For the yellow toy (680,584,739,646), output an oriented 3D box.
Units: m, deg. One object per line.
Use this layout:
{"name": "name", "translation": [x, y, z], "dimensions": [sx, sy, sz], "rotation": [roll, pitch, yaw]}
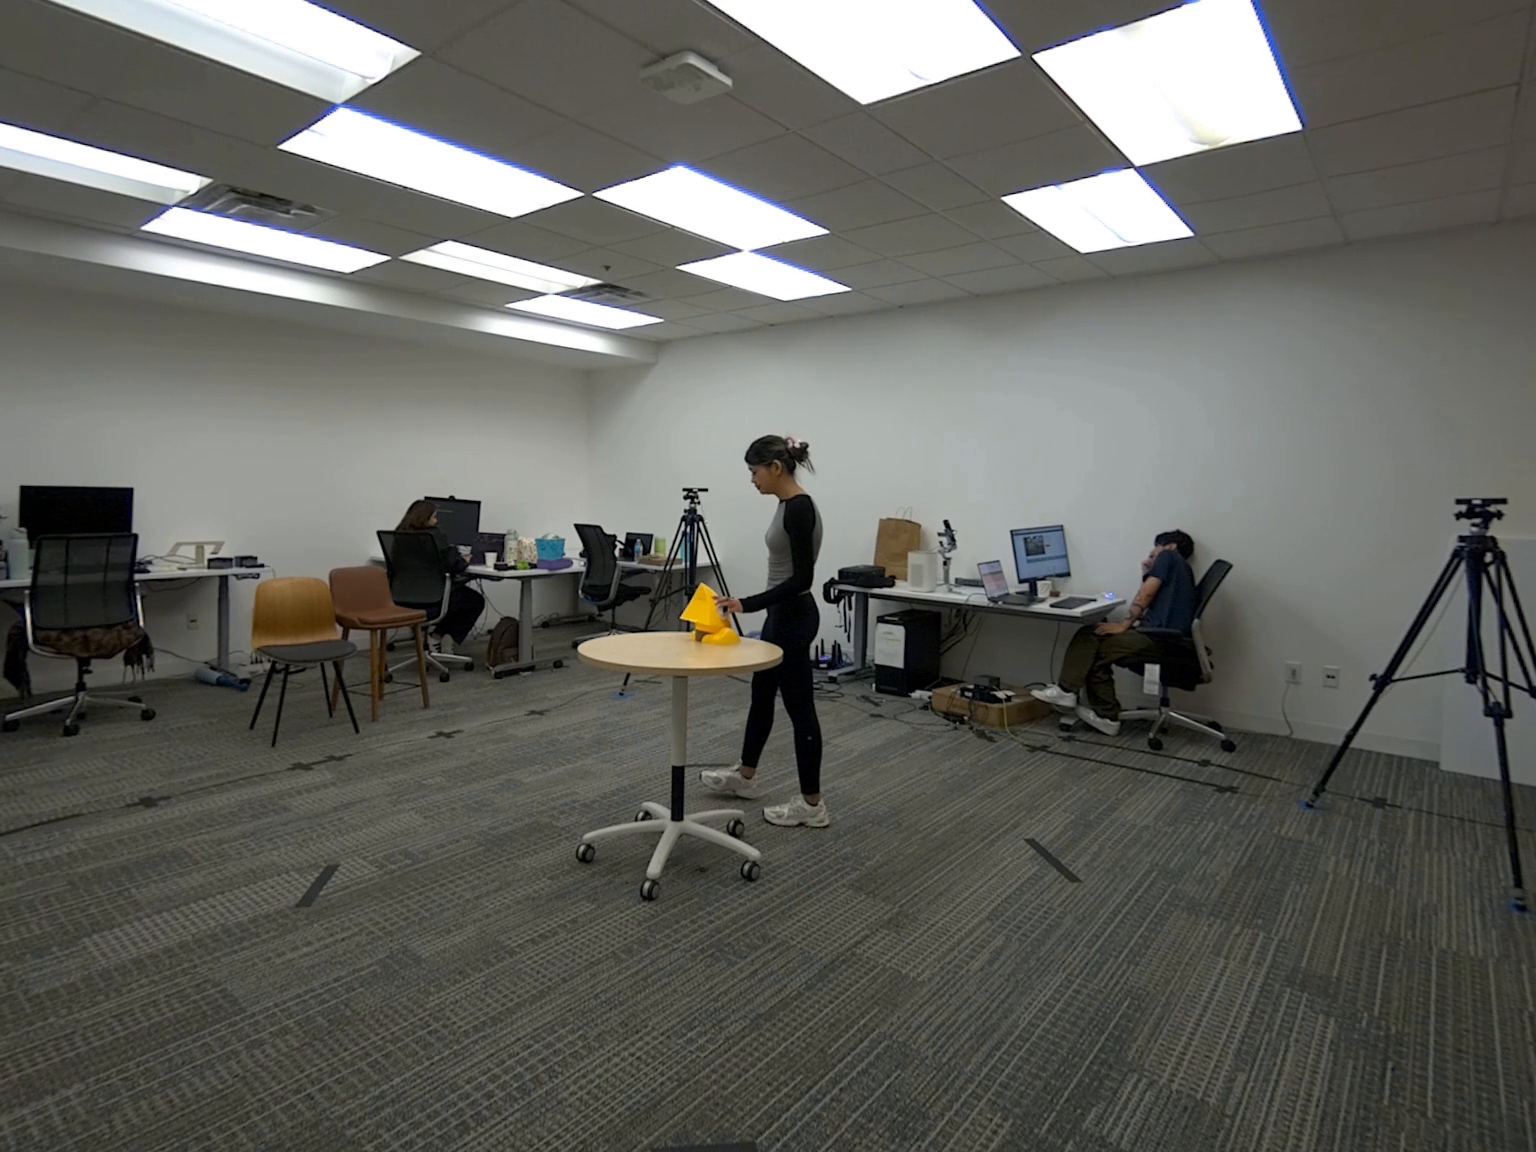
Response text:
{"name": "yellow toy", "translation": [-0.230, 0.142, 3.398], "dimensions": [0.187, 0.230, 0.212], "rotation": [-1, 5, -38]}
